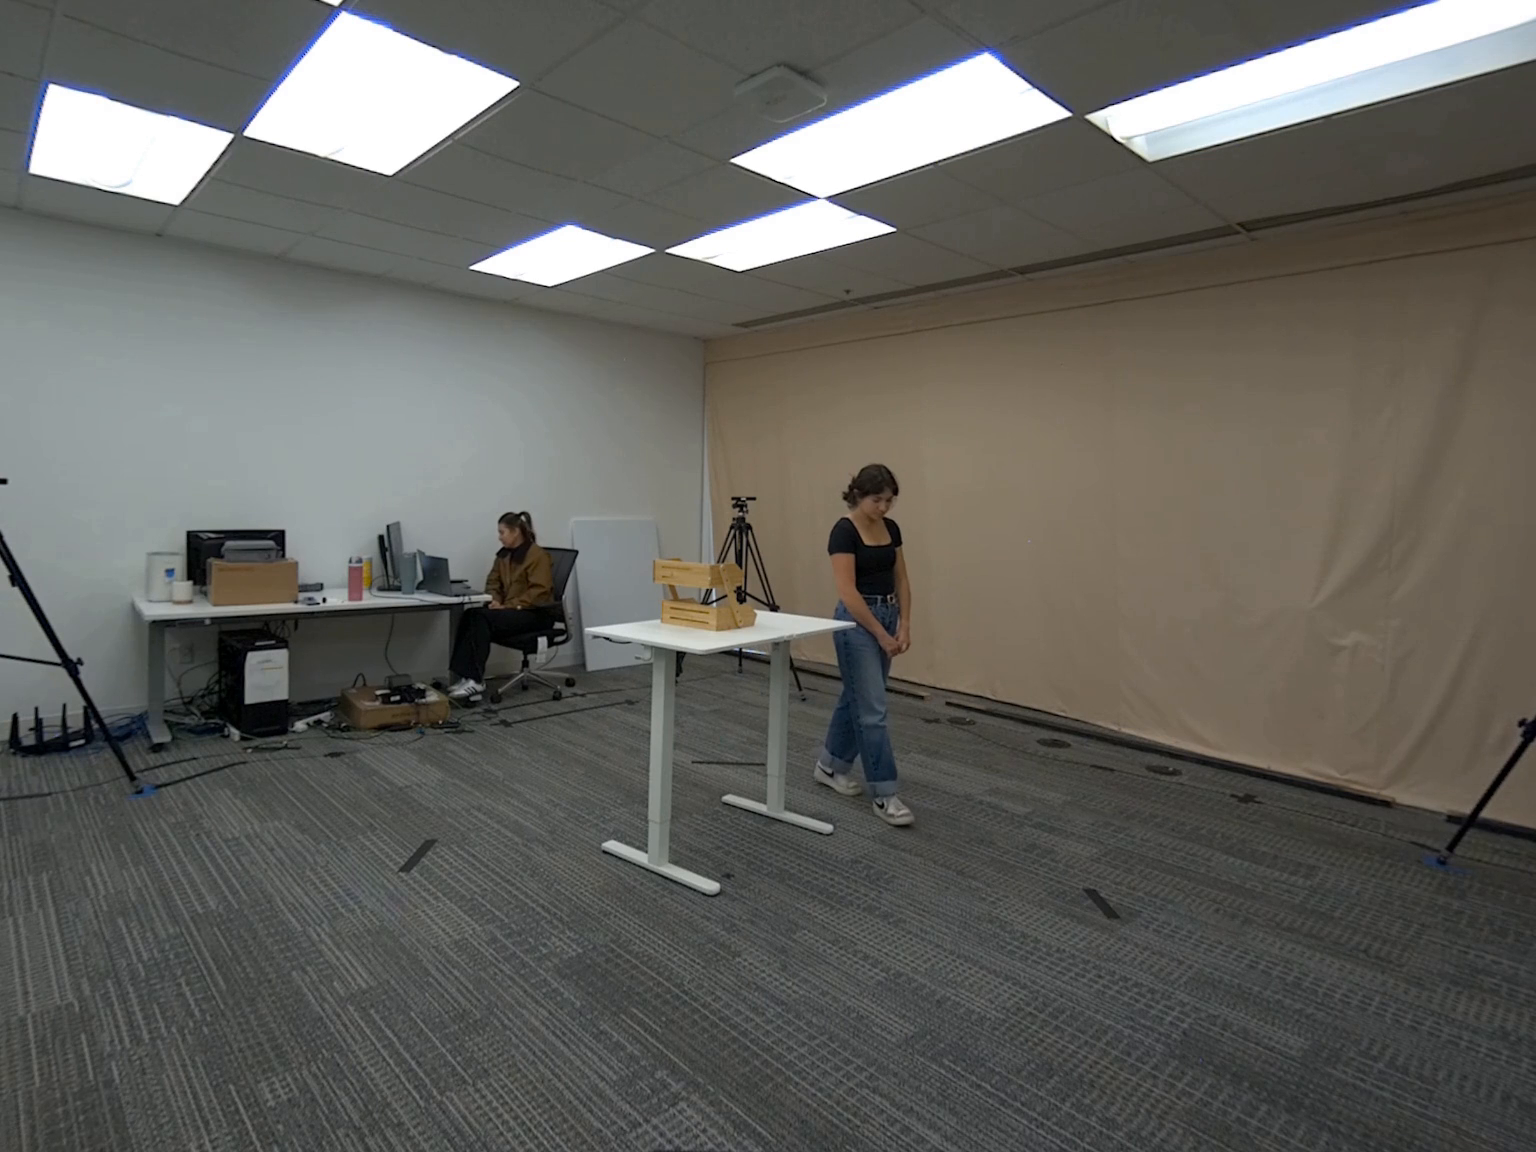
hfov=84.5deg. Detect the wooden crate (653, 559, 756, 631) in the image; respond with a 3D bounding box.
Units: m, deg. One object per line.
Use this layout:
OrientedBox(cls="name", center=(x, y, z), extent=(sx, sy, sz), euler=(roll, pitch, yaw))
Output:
OrientedBox(cls="wooden crate", center=(-0.258, 0.064, 3.389), extent=(0.332, 0.272, 0.295), euler=(5, 6, 36))
